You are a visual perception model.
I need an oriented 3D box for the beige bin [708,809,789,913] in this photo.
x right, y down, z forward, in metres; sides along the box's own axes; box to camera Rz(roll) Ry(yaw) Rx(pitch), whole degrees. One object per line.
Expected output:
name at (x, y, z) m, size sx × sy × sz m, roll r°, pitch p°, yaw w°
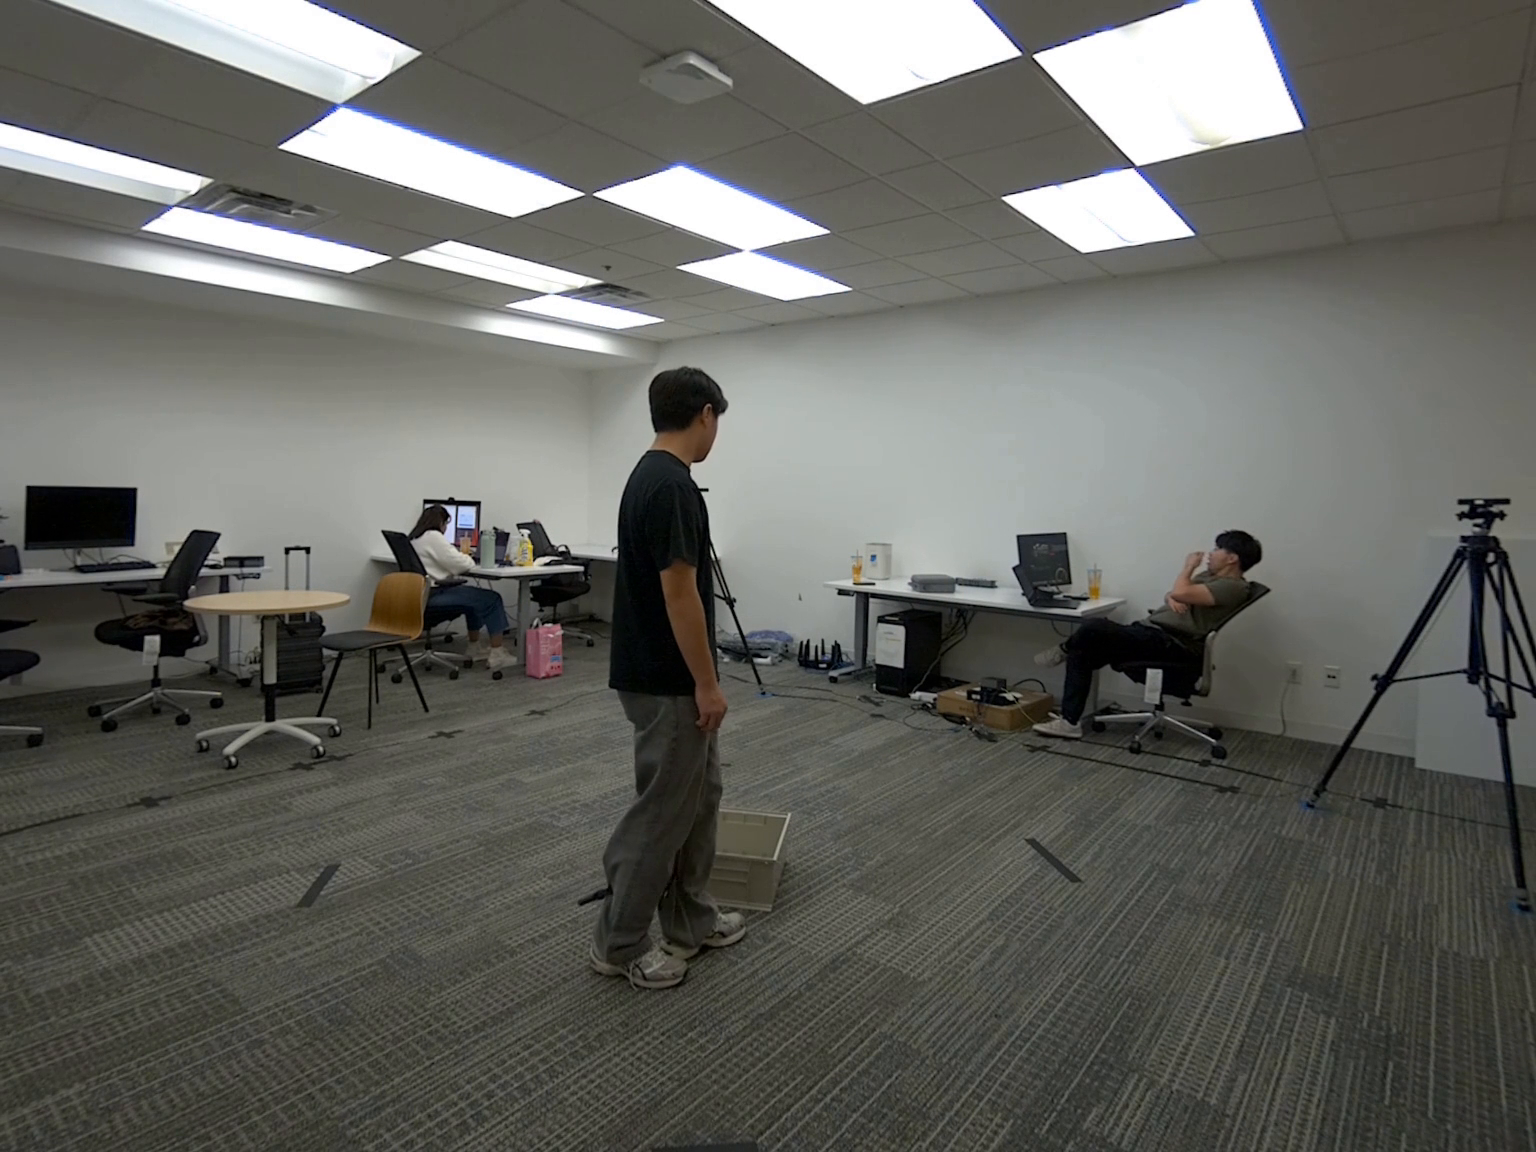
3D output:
beige bin at (-0.140, 0.992, 3.027) m, size 0.382 × 0.188 × 0.419 m, roll 3°, pitch 5°, yaw 9°
